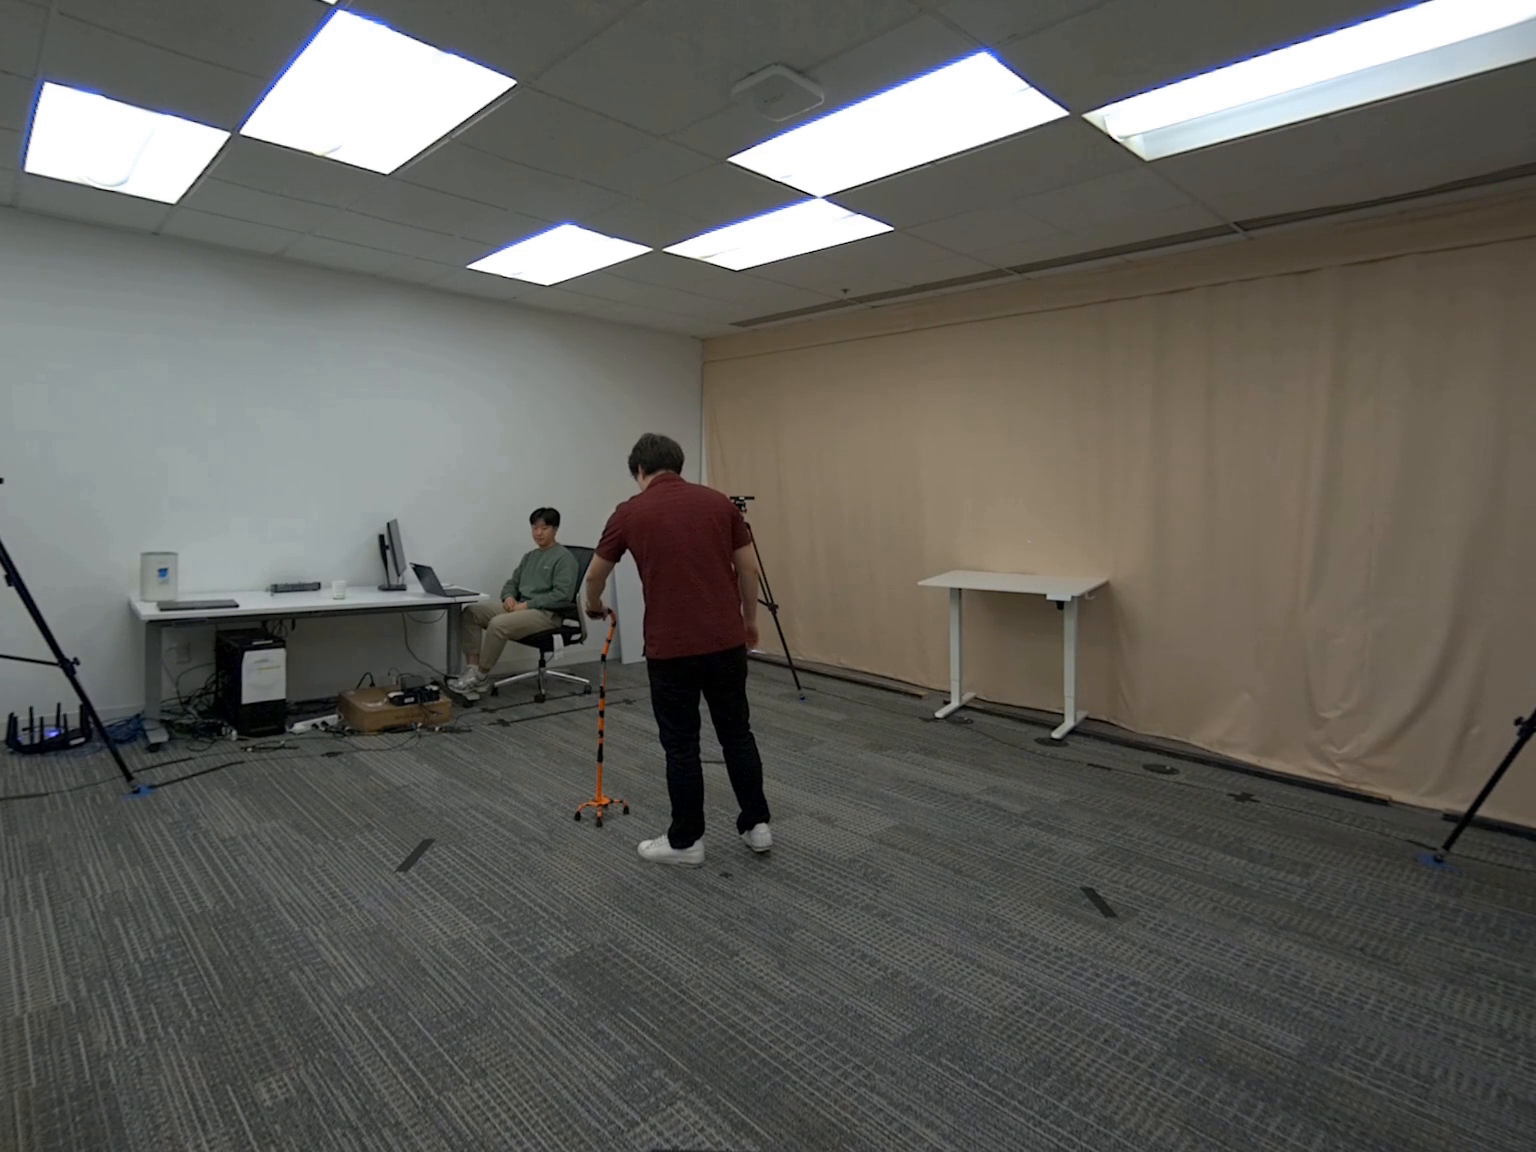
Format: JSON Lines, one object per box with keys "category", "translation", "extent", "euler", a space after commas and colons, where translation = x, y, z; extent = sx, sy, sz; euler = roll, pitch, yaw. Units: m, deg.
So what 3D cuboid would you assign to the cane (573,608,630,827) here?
{"category": "cane", "translation": [-0.707, 0.587, 3.603], "extent": [0.155, 0.904, 0.203], "euler": [5, 6, 28]}
